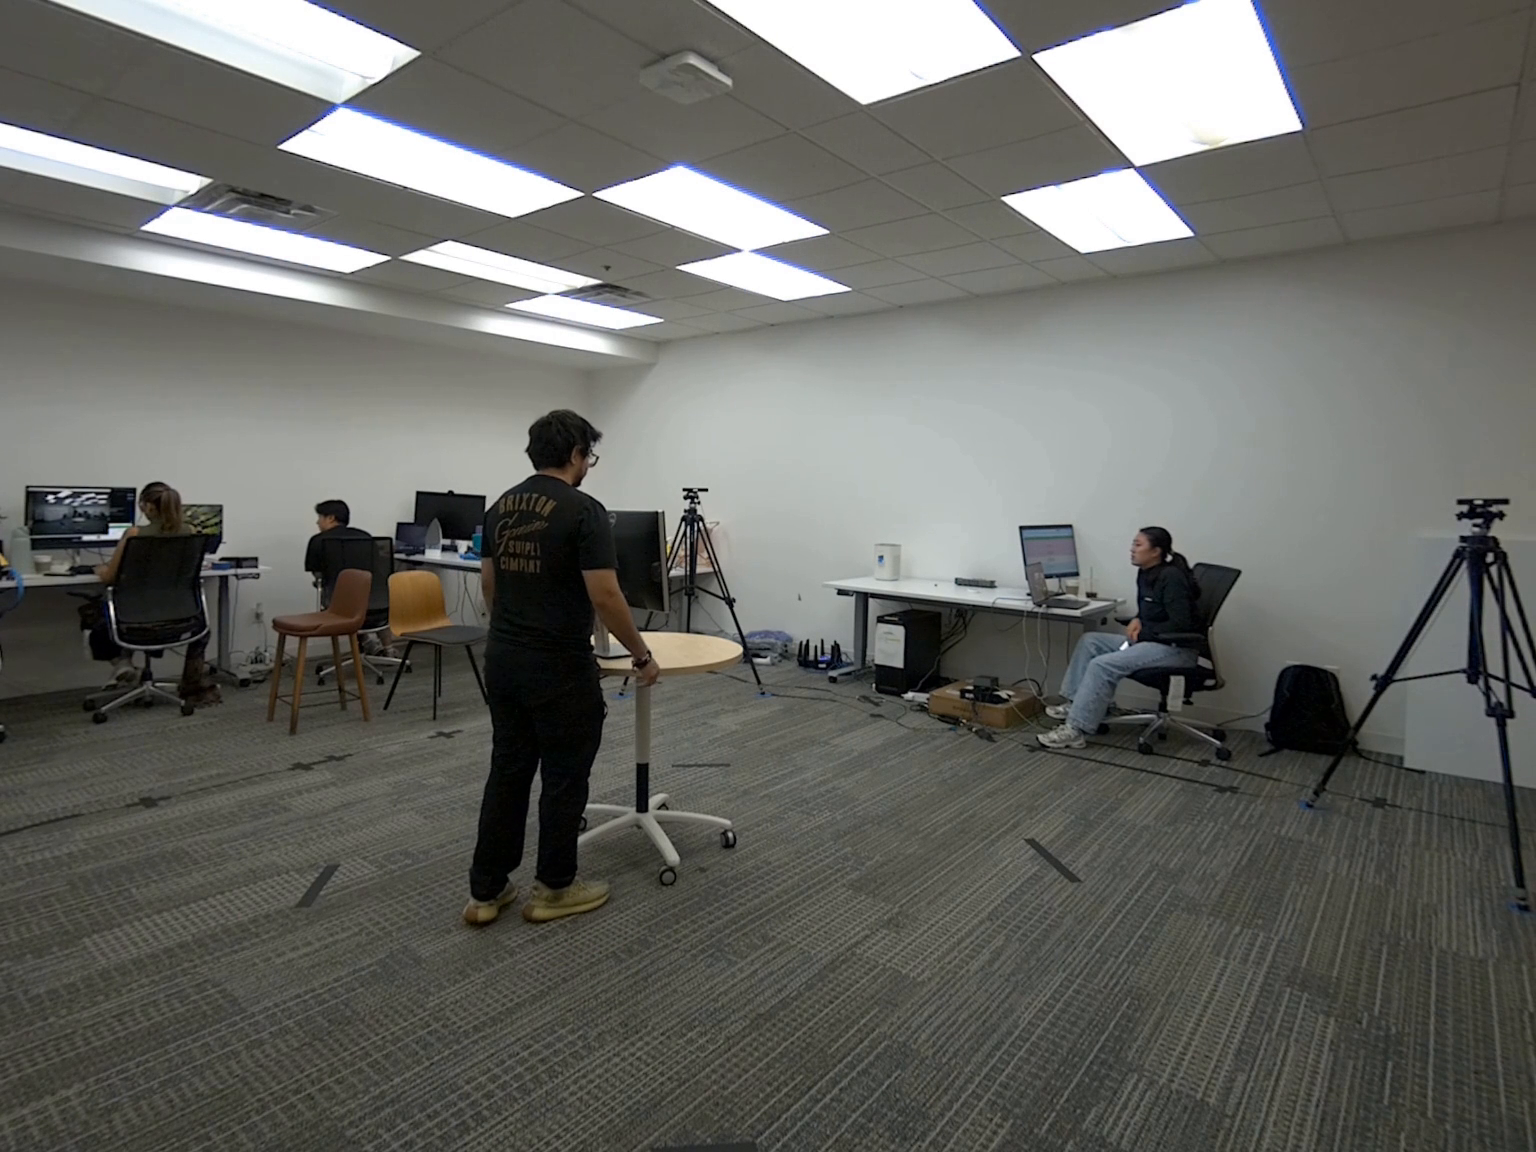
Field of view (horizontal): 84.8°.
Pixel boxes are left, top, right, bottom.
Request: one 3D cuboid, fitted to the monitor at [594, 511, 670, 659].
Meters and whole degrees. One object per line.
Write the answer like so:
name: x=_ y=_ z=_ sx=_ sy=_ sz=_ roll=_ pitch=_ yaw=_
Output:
monitor: x=-0.614 y=0.022 z=3.153 sx=0.204 sy=0.552 sz=0.584 roll=-4 pitch=5 yaw=-42
